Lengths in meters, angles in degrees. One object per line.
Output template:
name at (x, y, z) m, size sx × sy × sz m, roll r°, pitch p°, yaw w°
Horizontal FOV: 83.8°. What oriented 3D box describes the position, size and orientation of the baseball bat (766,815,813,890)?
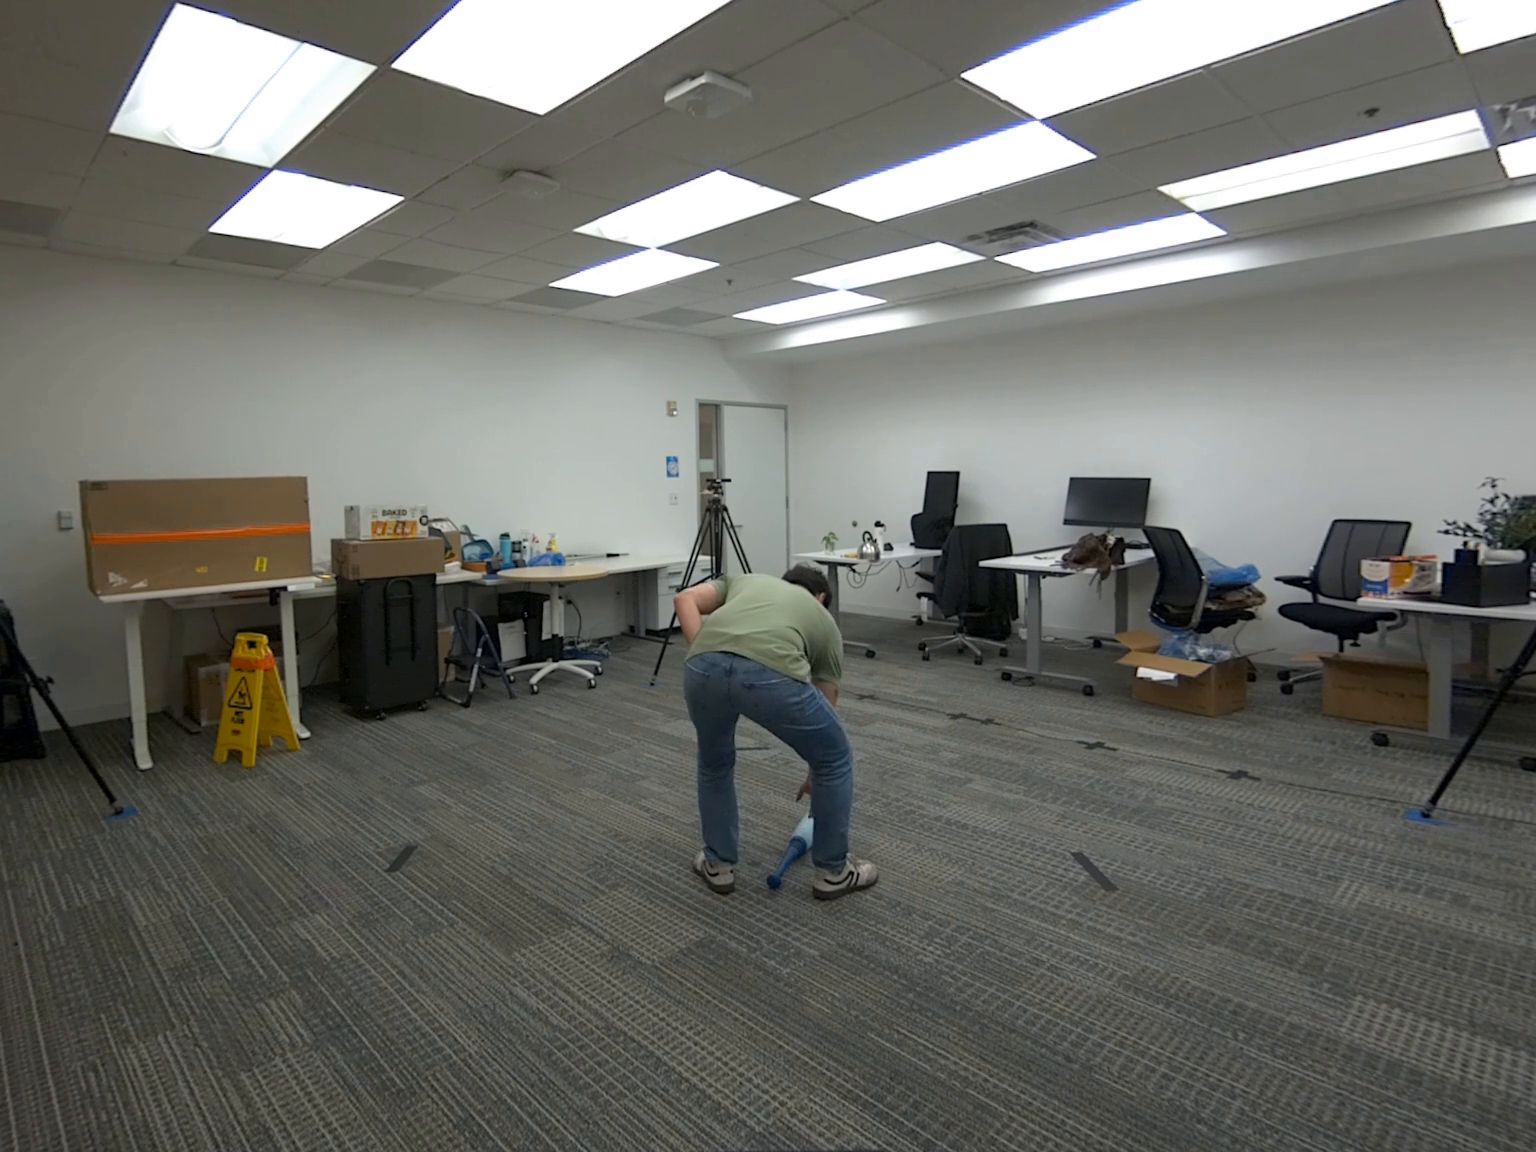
baseball bat at (0.111, 1.000, 3.148) m, size 0.091 × 0.088 × 0.537 m, roll 1°, pitch 10°, yaw 19°
